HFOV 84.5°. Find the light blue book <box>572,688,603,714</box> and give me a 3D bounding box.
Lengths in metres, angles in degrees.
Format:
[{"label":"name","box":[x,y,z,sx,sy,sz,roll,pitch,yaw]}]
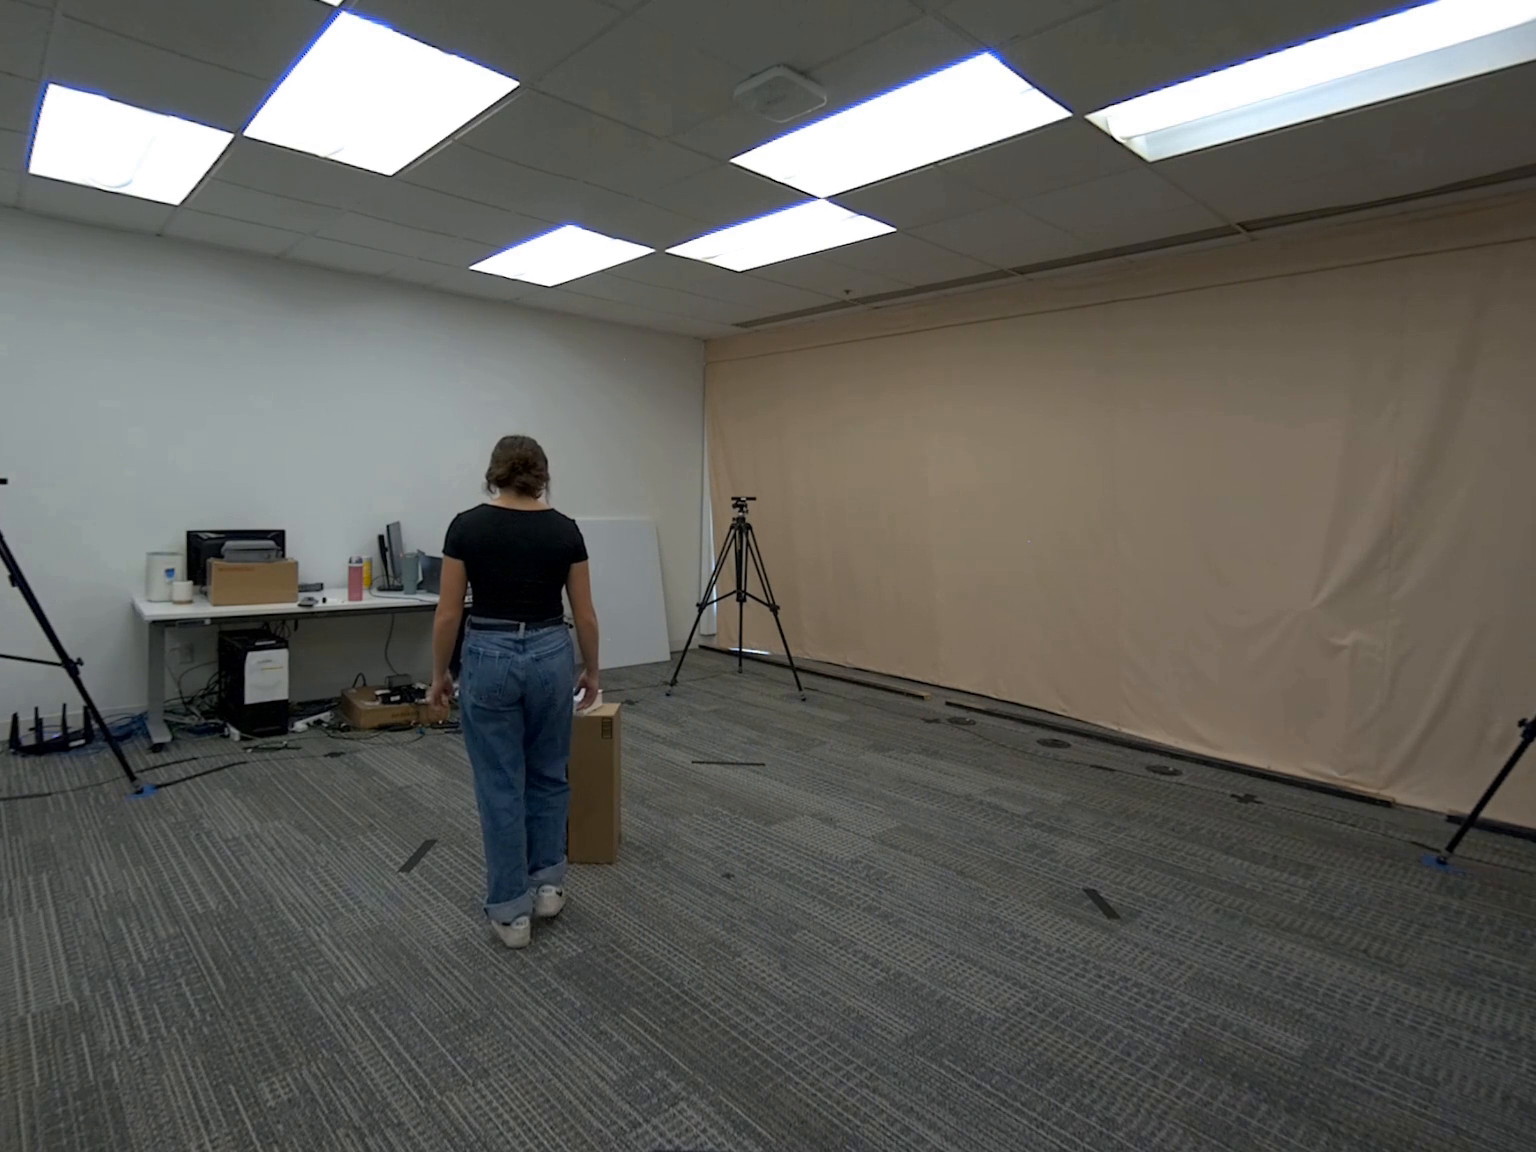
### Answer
[{"label":"light blue book","box":[-0.819,0.493,3.274,0.264,0.059,0.189,2,4,14]}]
